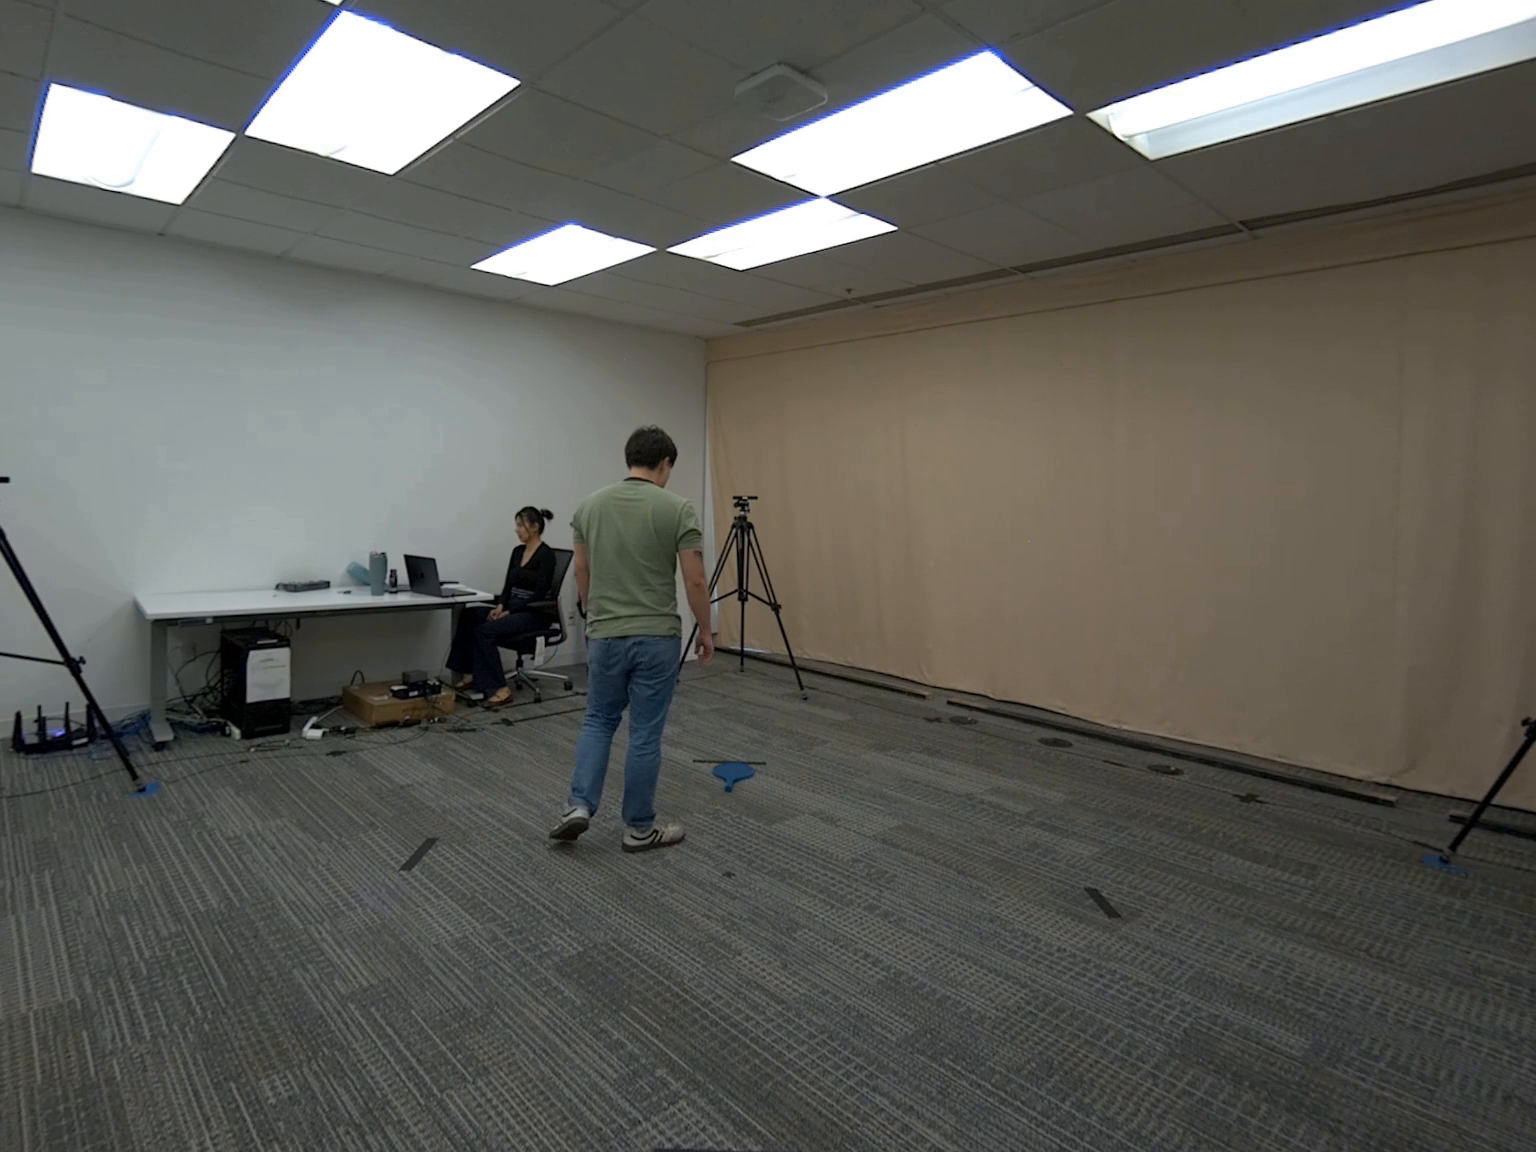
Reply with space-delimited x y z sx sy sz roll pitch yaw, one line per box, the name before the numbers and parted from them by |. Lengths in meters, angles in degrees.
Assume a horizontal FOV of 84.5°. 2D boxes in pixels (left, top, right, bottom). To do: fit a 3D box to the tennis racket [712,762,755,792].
tennis racket | -0.194 0.995 4.197 0.215 0.032 0.432 2 4 5
